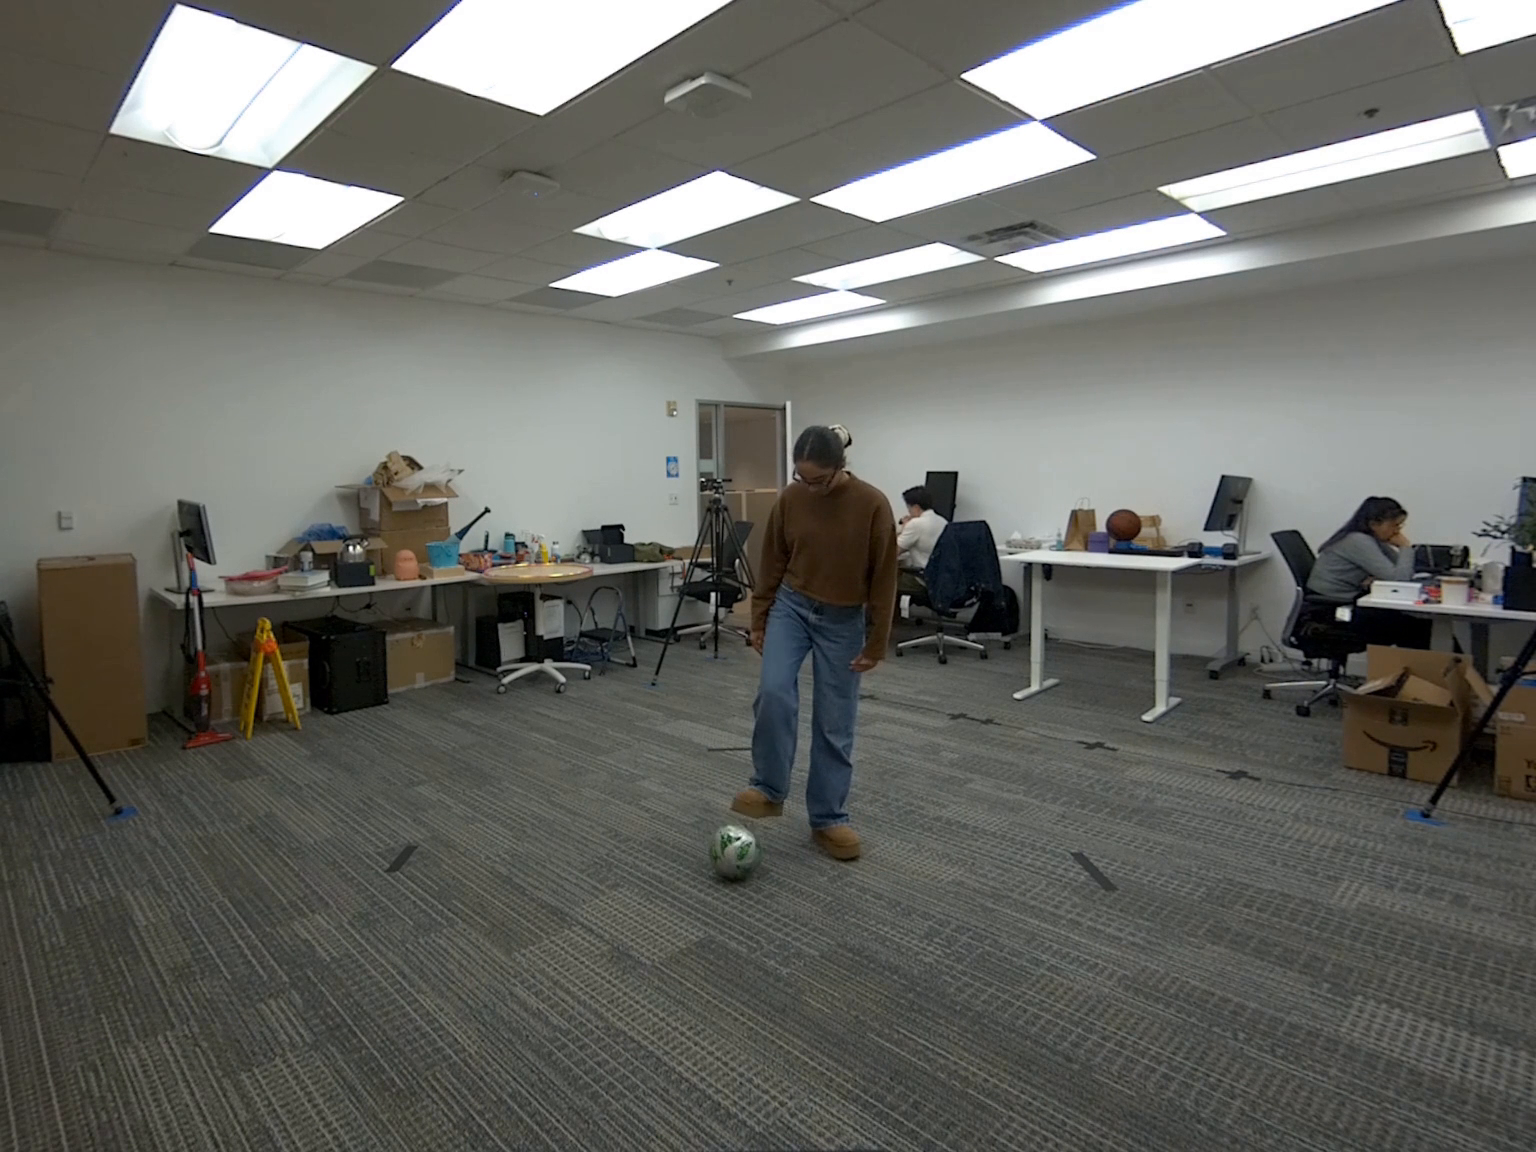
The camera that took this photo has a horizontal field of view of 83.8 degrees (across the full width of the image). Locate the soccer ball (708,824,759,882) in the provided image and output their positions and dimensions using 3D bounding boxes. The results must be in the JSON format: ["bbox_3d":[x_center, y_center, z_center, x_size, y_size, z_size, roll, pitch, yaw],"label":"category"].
[{"bbox_3d":[-0.111,0.965,3.000,0.187,0.187,0.188,-1,5,-2],"label":"soccer ball"}]
